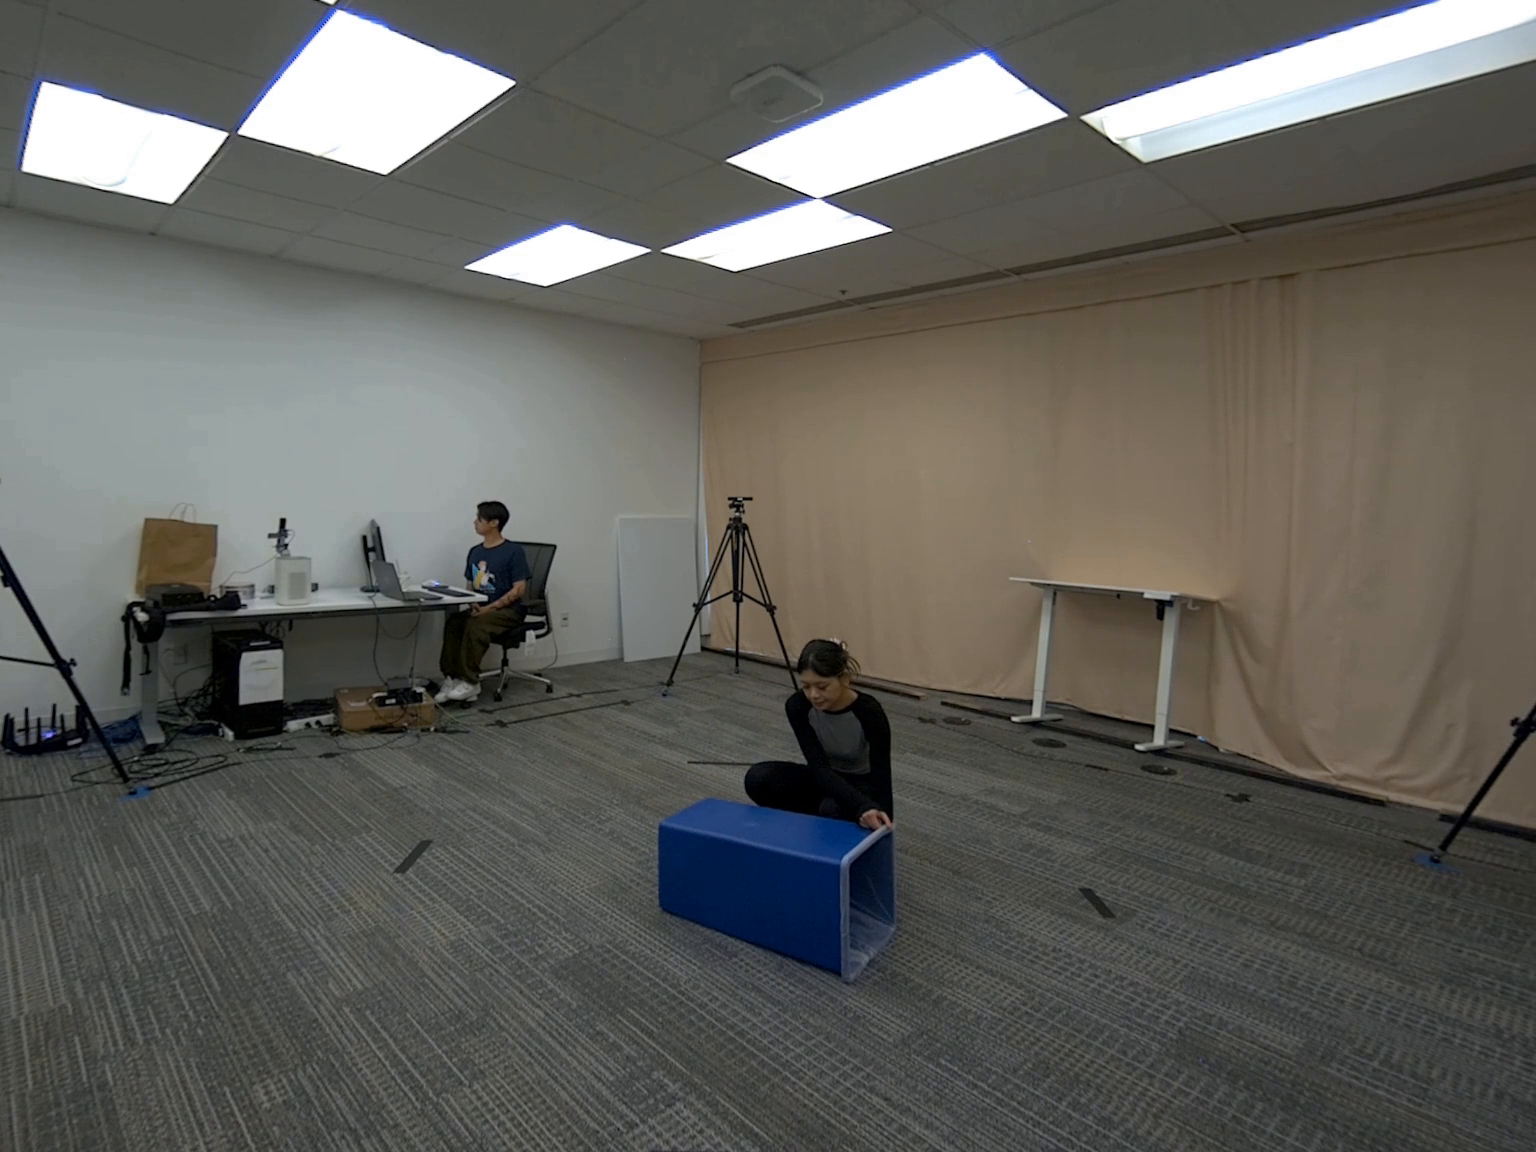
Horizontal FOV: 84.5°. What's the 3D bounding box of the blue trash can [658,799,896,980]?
[{"bbox_3d":[0.003,0.974,2.750,0.729,0.377,0.367,2,5,32],"label":"blue trash can"}]
